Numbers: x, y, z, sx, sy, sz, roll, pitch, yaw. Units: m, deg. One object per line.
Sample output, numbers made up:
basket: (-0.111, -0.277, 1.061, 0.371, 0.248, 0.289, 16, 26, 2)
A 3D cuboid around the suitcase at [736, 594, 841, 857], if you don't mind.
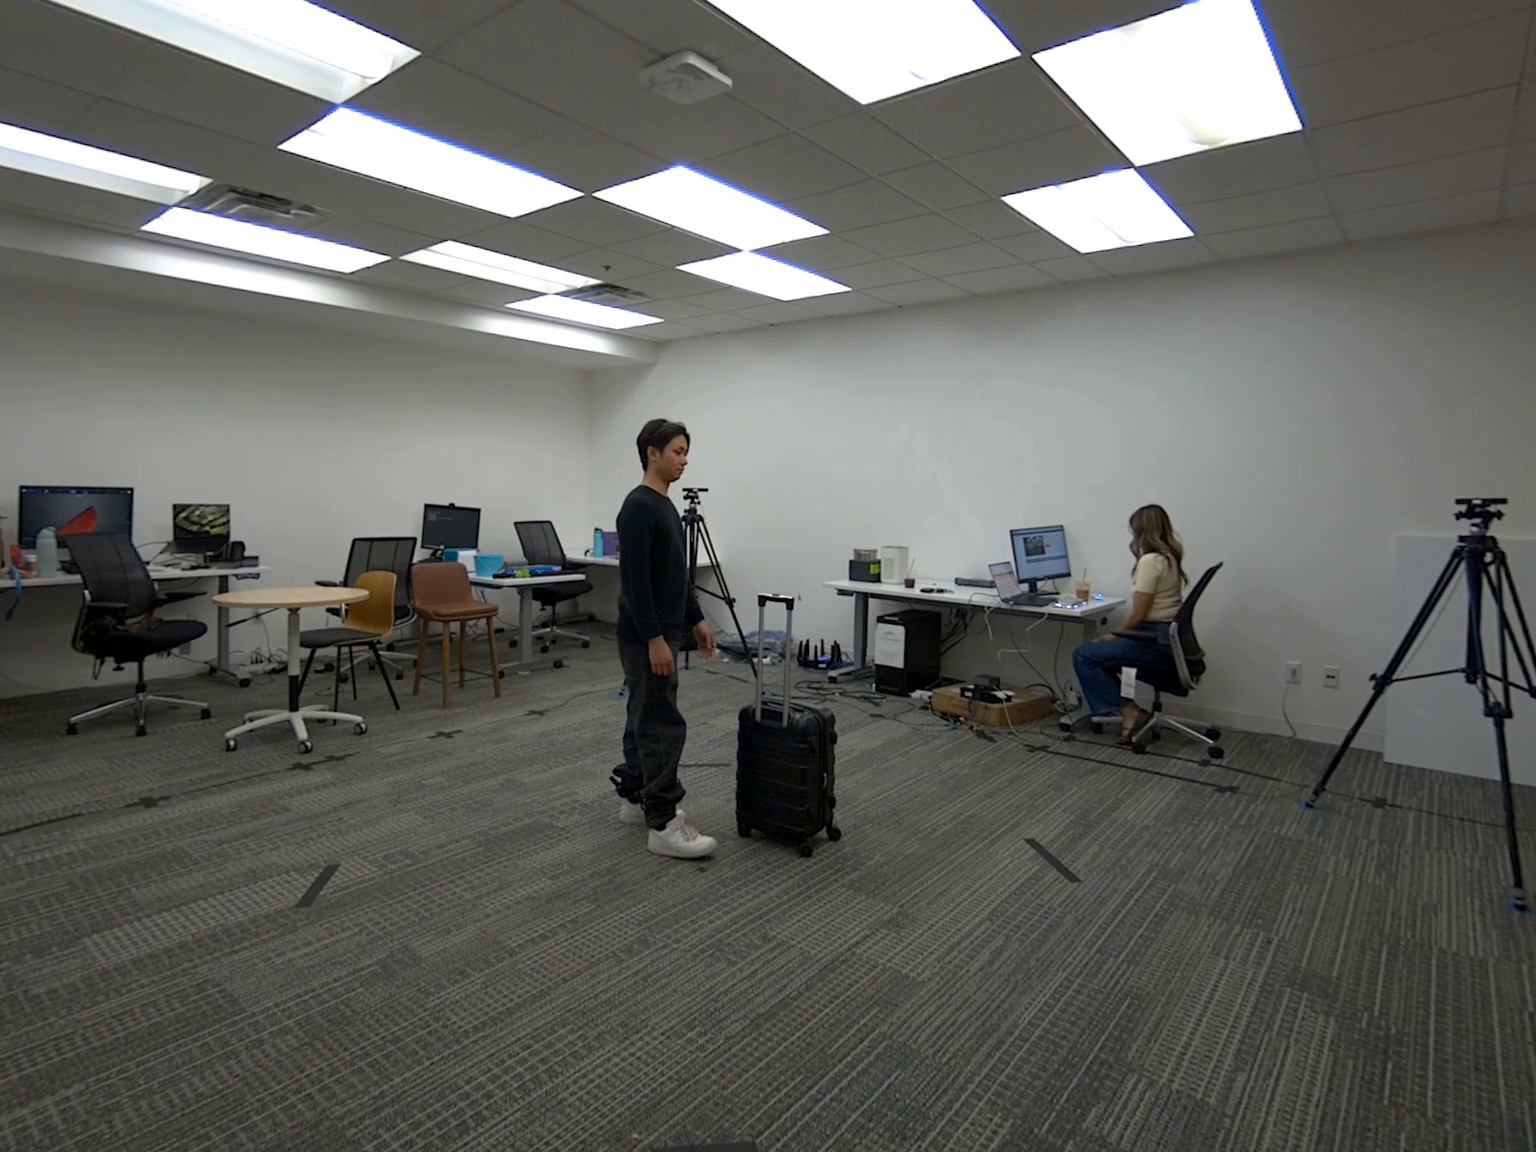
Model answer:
suitcase: (0.068, 0.566, 3.402, 0.396, 0.977, 0.249, 3, 2, 36)
